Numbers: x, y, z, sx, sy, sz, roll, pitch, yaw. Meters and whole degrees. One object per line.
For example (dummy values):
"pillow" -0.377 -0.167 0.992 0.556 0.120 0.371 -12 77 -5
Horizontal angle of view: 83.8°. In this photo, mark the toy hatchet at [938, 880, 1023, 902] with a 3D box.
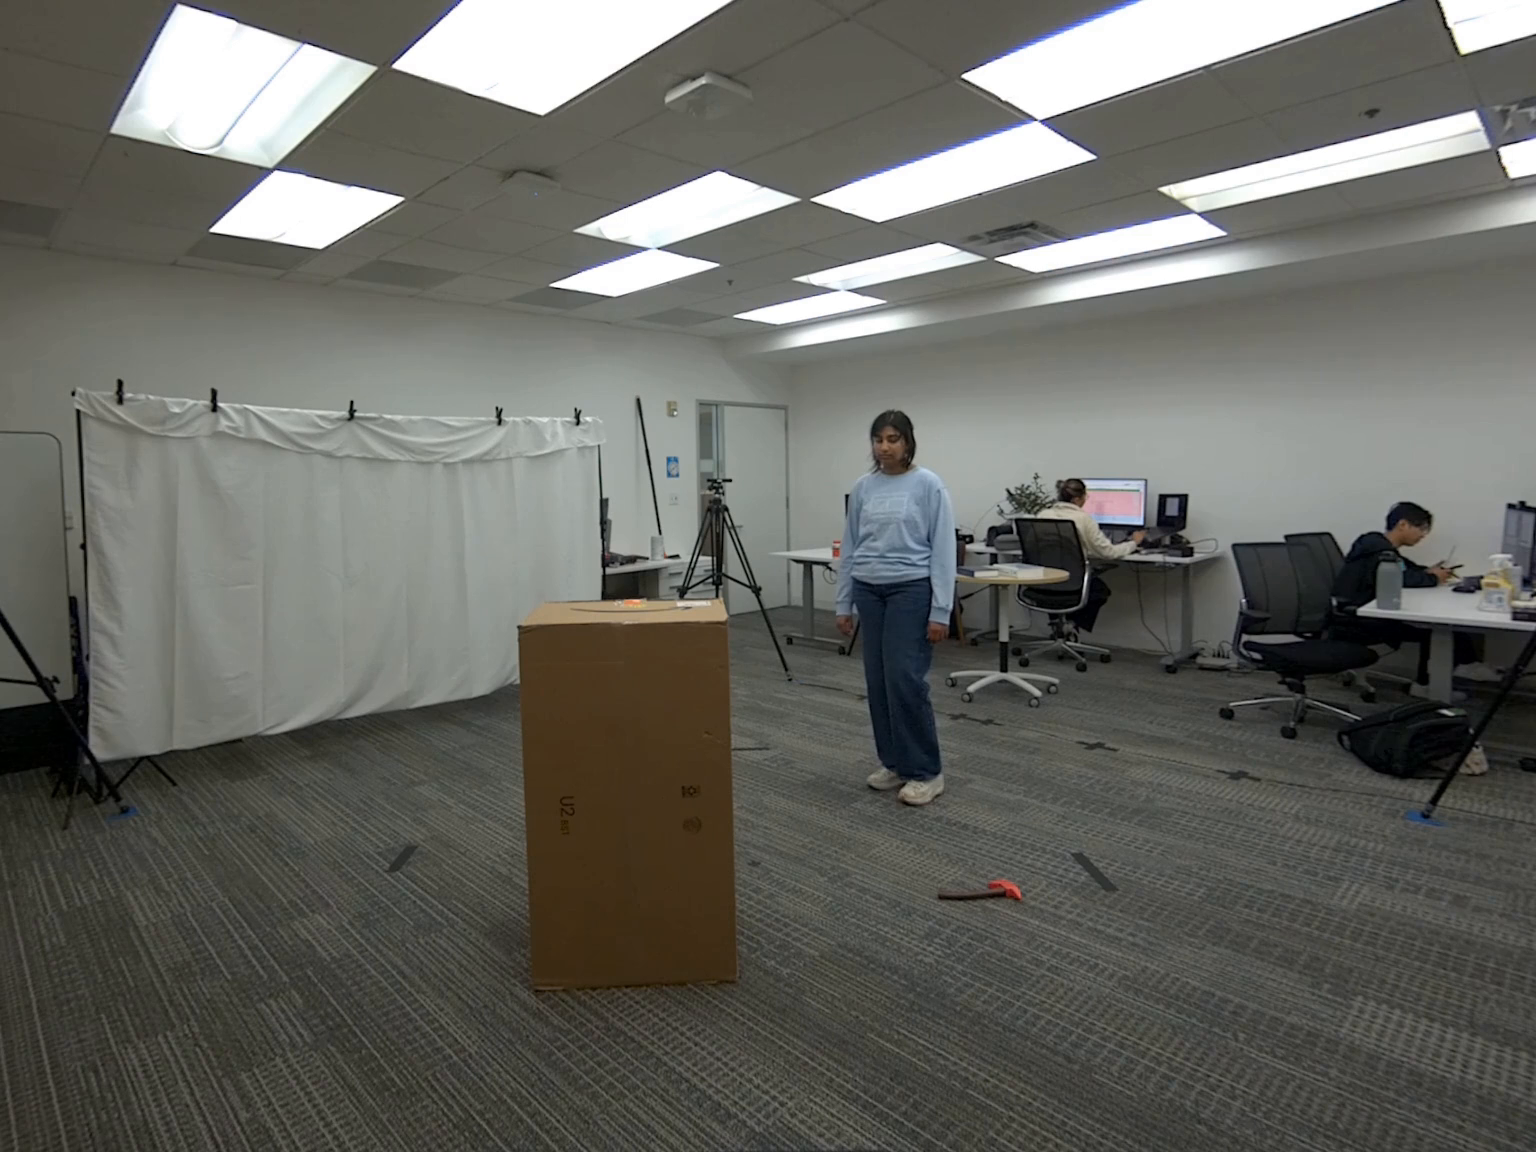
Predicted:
"toy hatchet" 0.703 1.050 2.858 0.273 0.029 0.130 0 8 9
